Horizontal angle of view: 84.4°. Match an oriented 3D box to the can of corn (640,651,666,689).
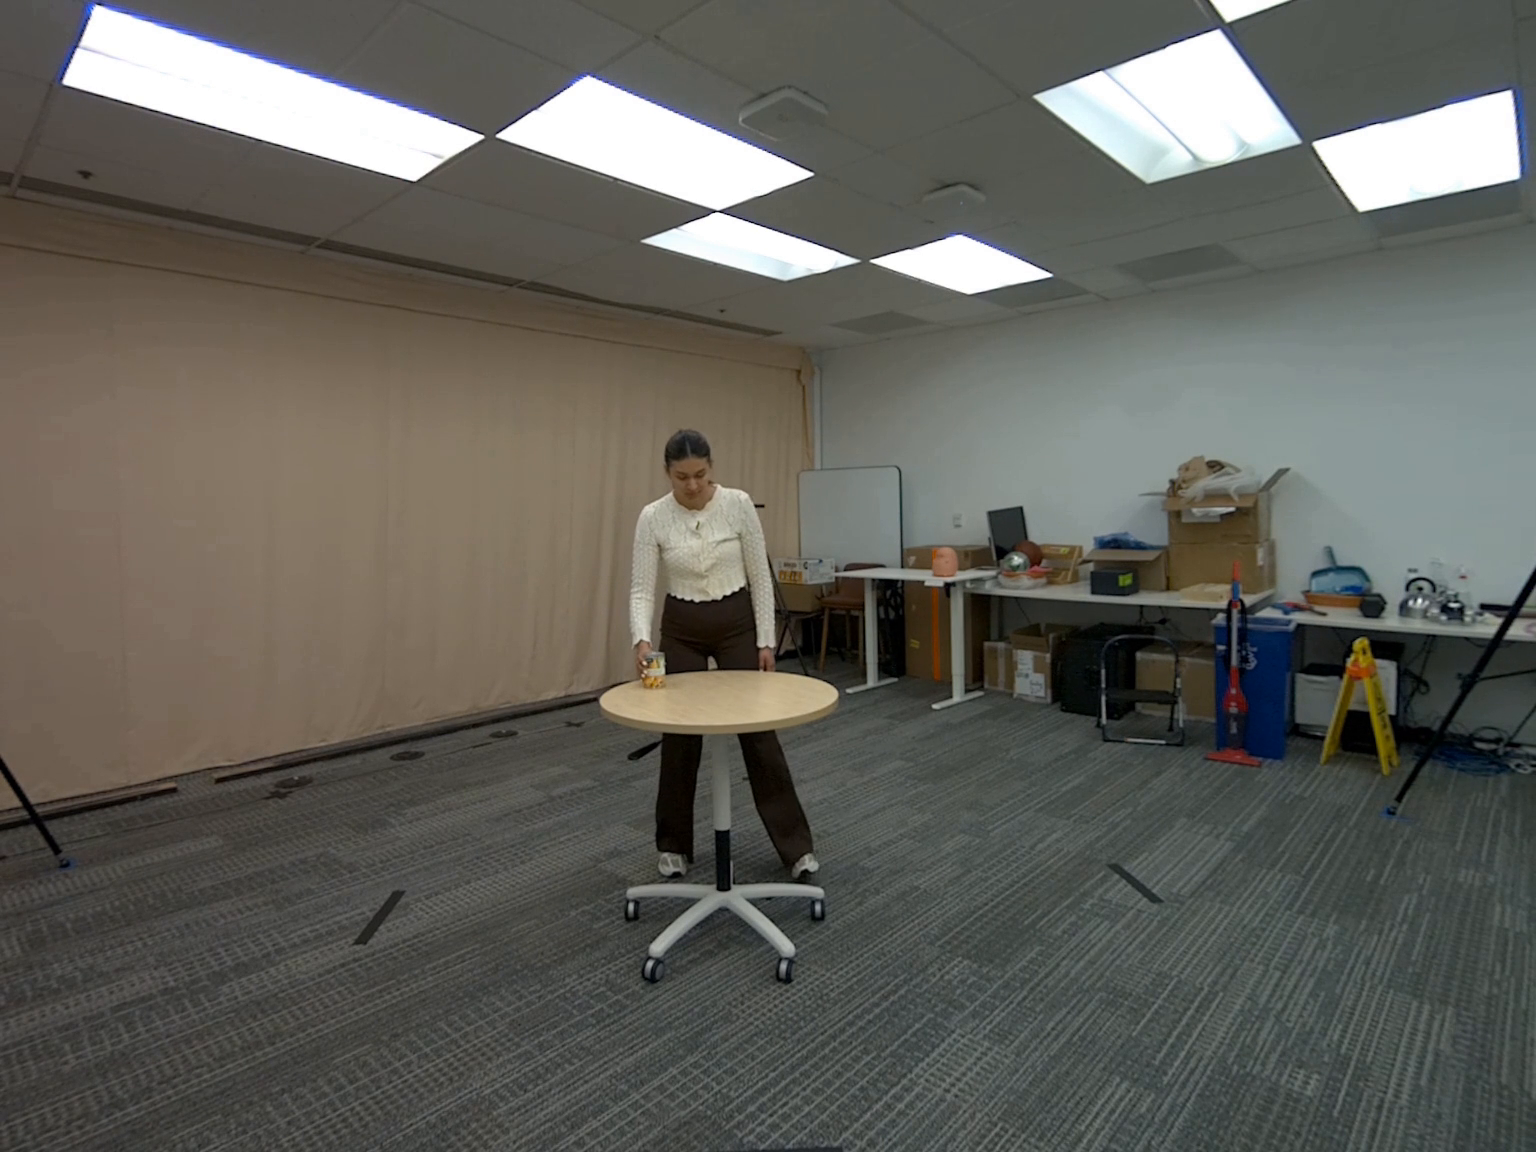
[{"bbox_3d":[-0.388,0.320,2.859,0.074,0.111,0.074,3,3,-2],"label":"can of corn"}]
